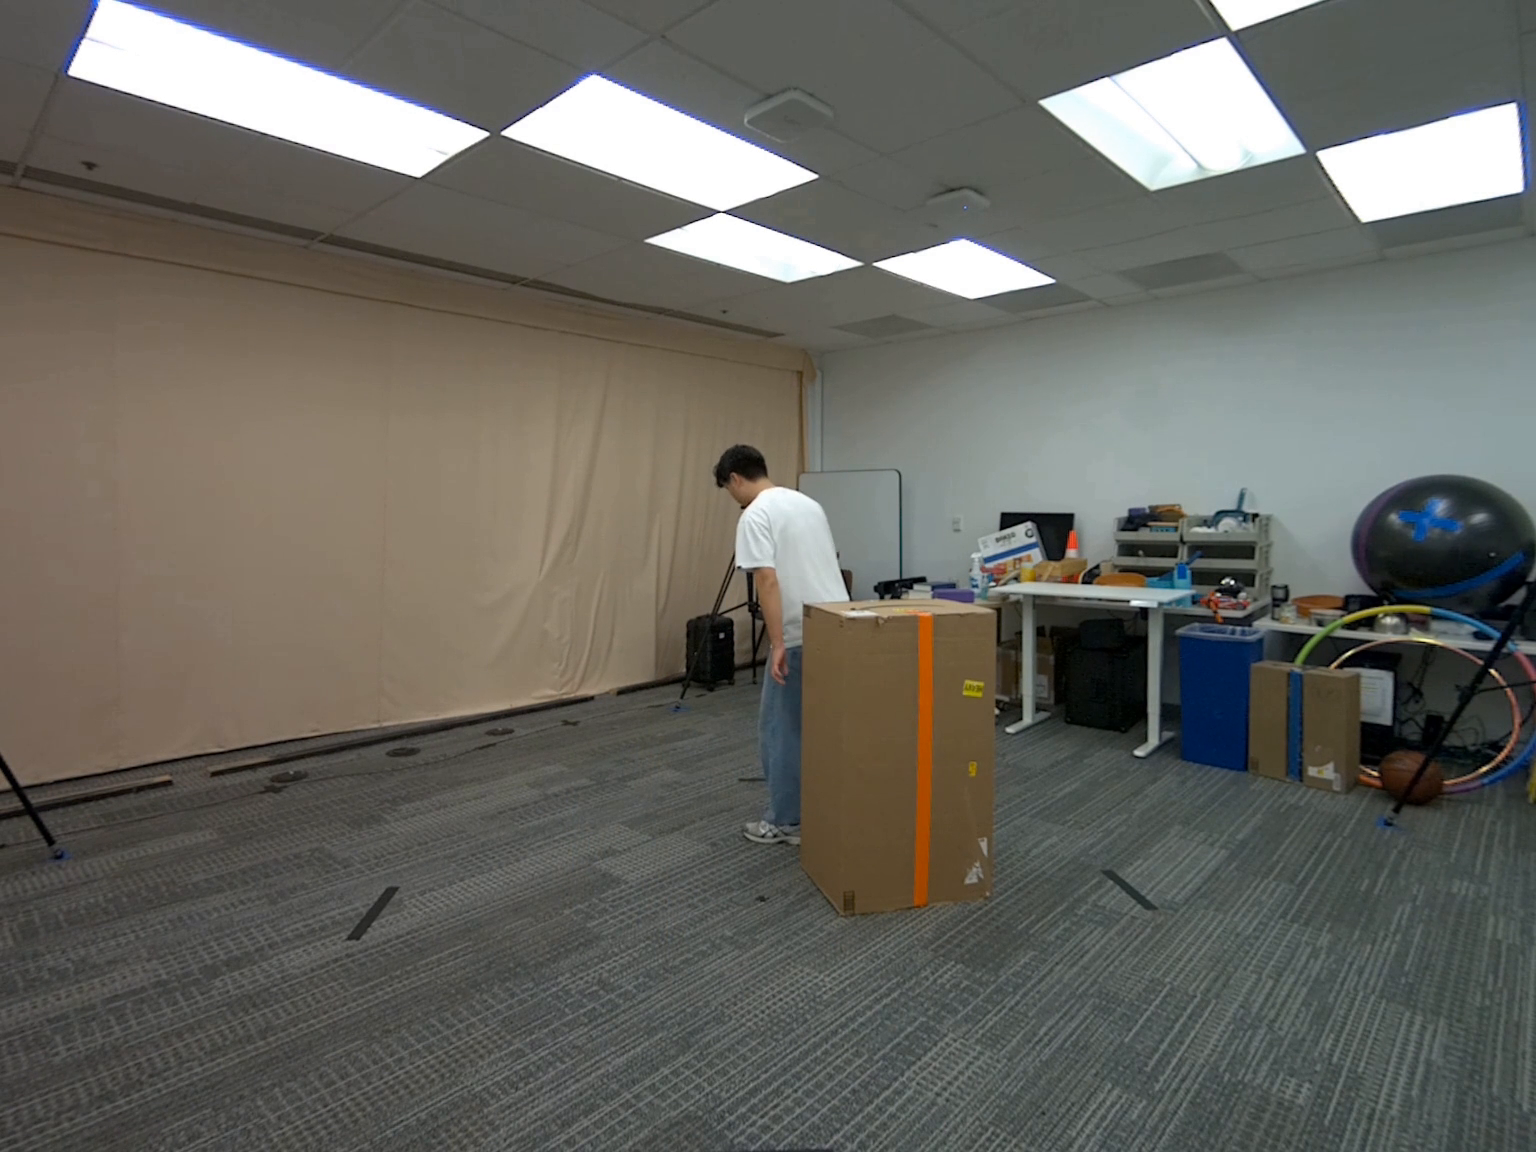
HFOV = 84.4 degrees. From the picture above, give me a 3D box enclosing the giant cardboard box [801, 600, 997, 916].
[{"bbox_3d":[0.471,0.623,3.091,0.567,1.024,0.434,-1,3,-17],"label":"giant cardboard box"}]
